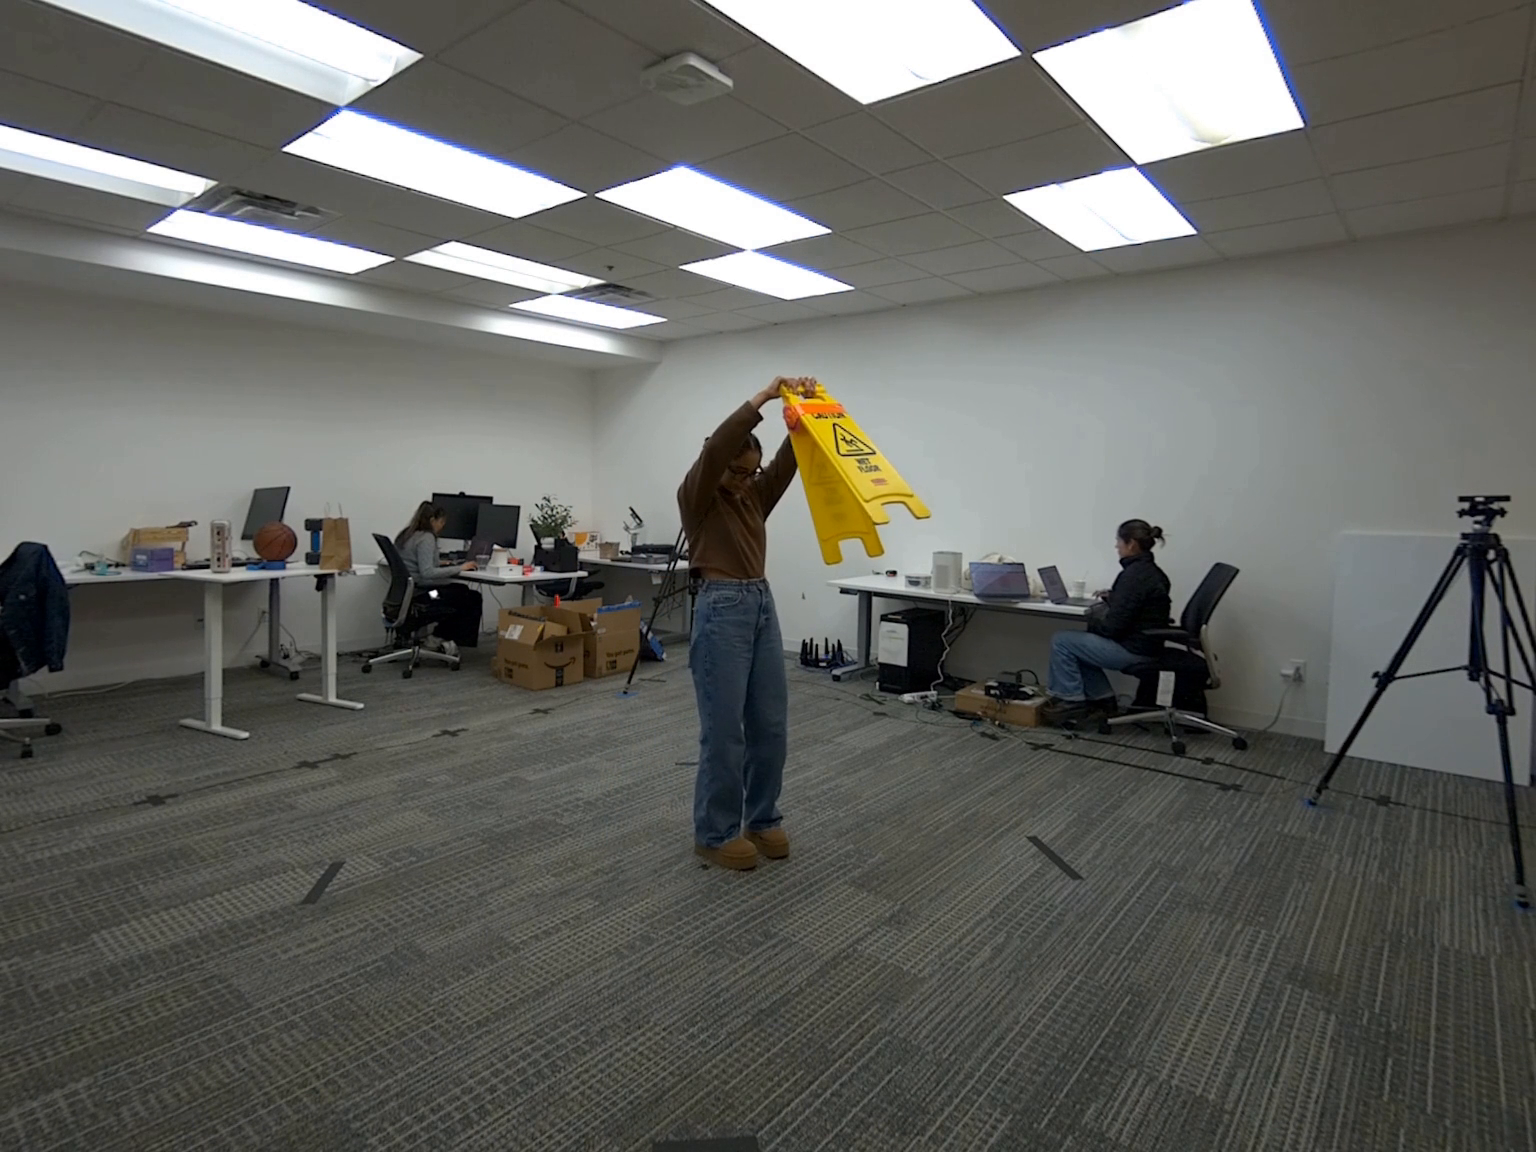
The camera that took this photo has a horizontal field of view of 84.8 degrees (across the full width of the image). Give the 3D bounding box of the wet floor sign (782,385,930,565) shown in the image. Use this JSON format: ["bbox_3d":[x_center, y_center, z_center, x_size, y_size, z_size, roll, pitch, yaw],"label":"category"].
[{"bbox_3d":[0.235,-0.400,2.913,0.275,0.661,0.290,-9,-23,-38],"label":"wet floor sign"}]
